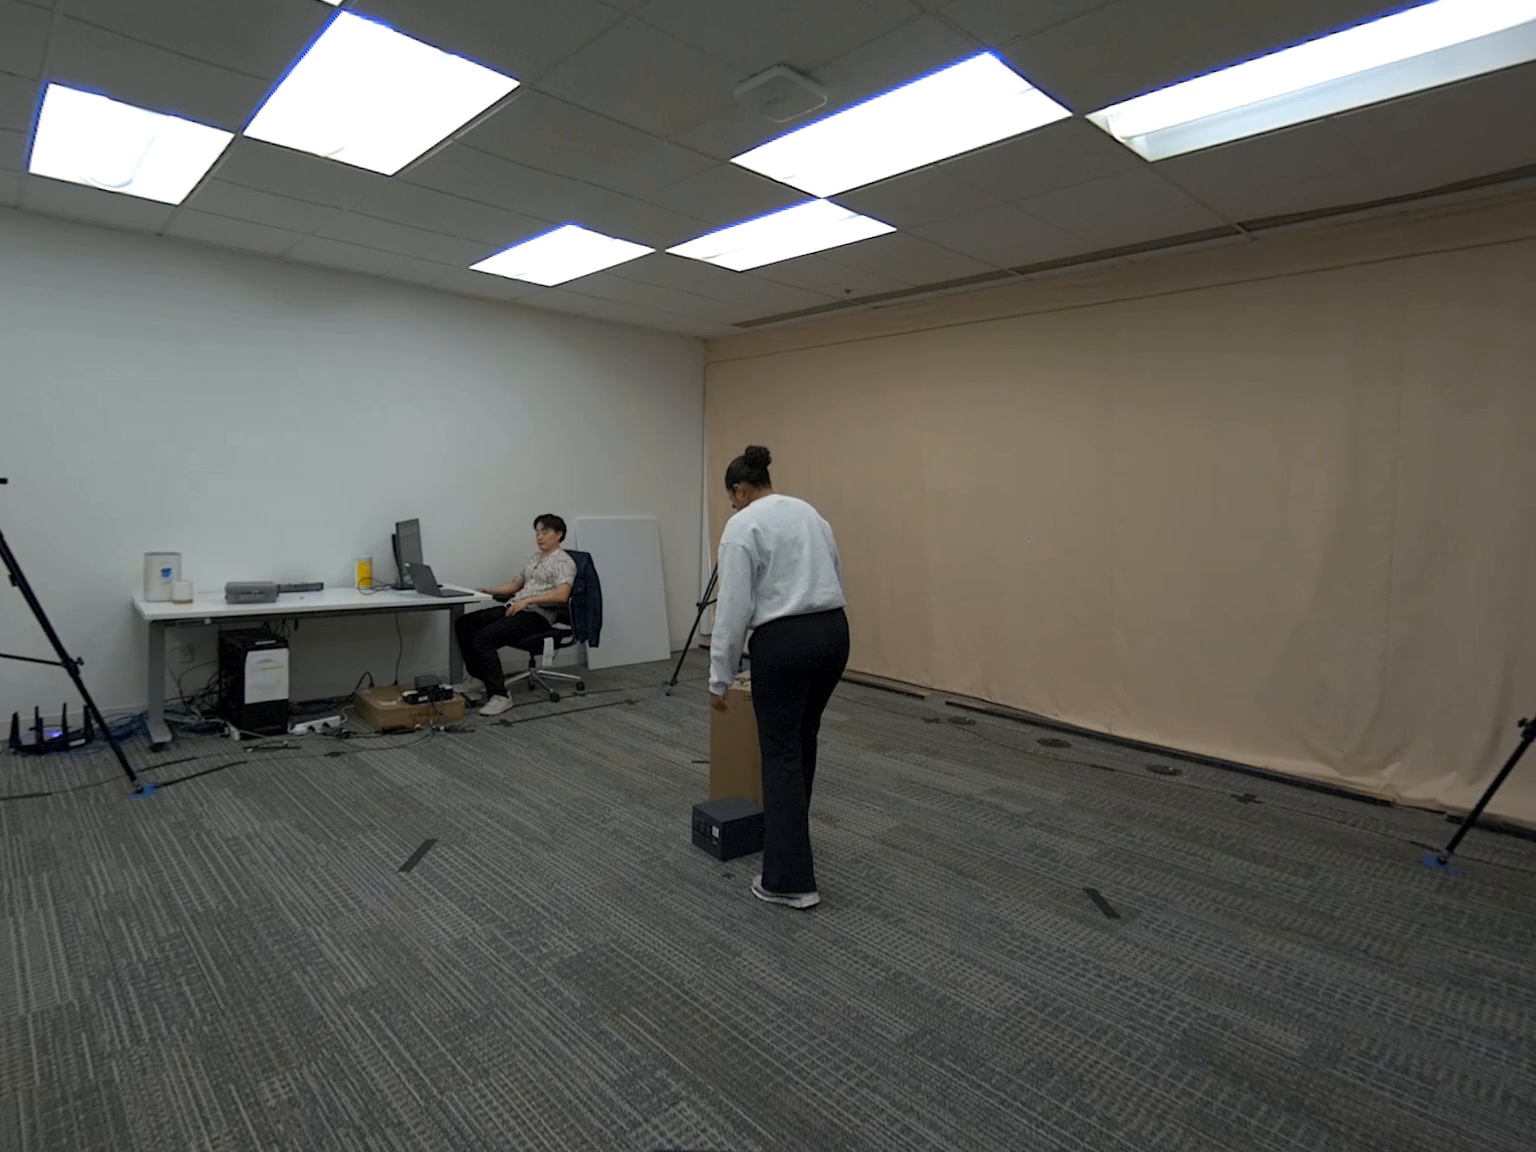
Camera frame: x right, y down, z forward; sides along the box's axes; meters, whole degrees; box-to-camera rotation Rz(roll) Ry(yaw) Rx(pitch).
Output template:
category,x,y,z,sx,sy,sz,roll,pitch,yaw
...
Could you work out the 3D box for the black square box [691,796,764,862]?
category,x,y,z,sx,sy,sz,roll,pitch,yaw
black square box,-0.164,1.001,3.362,0.223,0.155,0.222,-2,5,-37
